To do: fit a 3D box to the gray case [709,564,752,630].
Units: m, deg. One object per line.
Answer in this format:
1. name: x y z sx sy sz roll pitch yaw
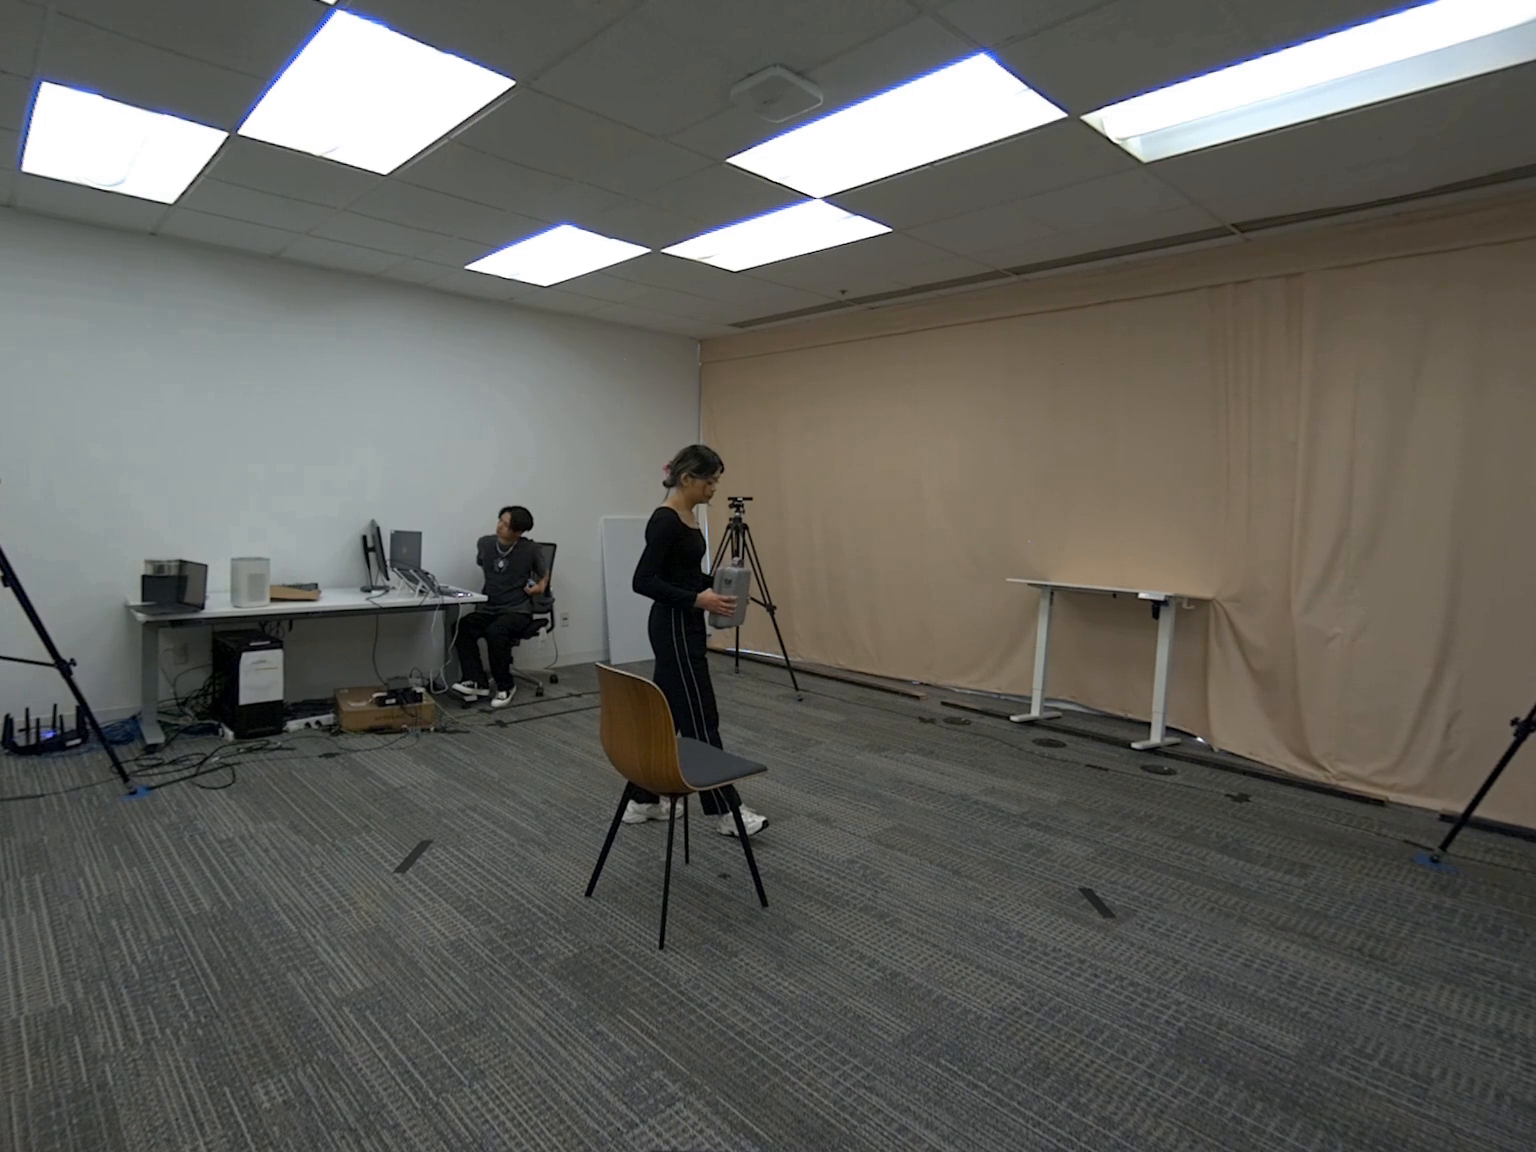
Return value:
1. gray case: -0.158 0.073 3.508 0.106 0.260 0.253 10 3 16
